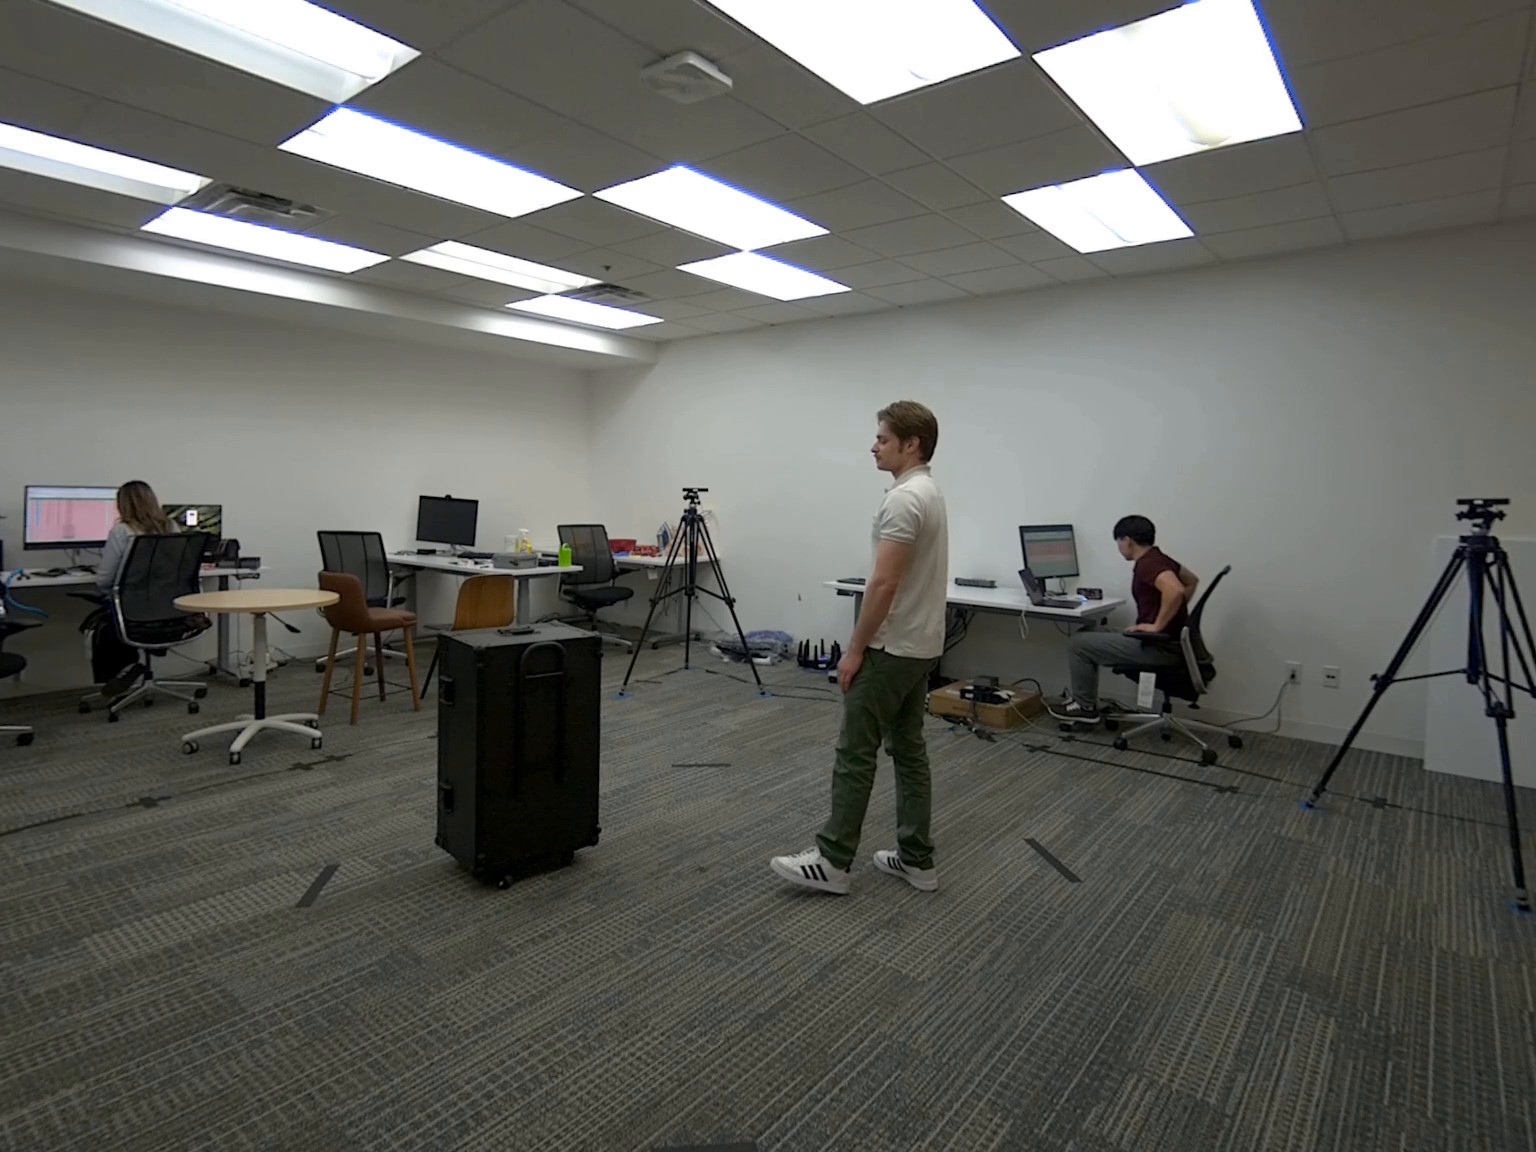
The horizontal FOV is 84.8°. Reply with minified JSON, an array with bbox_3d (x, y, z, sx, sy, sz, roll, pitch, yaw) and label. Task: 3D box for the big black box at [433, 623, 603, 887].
[{"bbox_3d":[-0.919,0.634,3.120,0.507,0.866,0.398,-1,5,-40],"label":"big black box"}]
